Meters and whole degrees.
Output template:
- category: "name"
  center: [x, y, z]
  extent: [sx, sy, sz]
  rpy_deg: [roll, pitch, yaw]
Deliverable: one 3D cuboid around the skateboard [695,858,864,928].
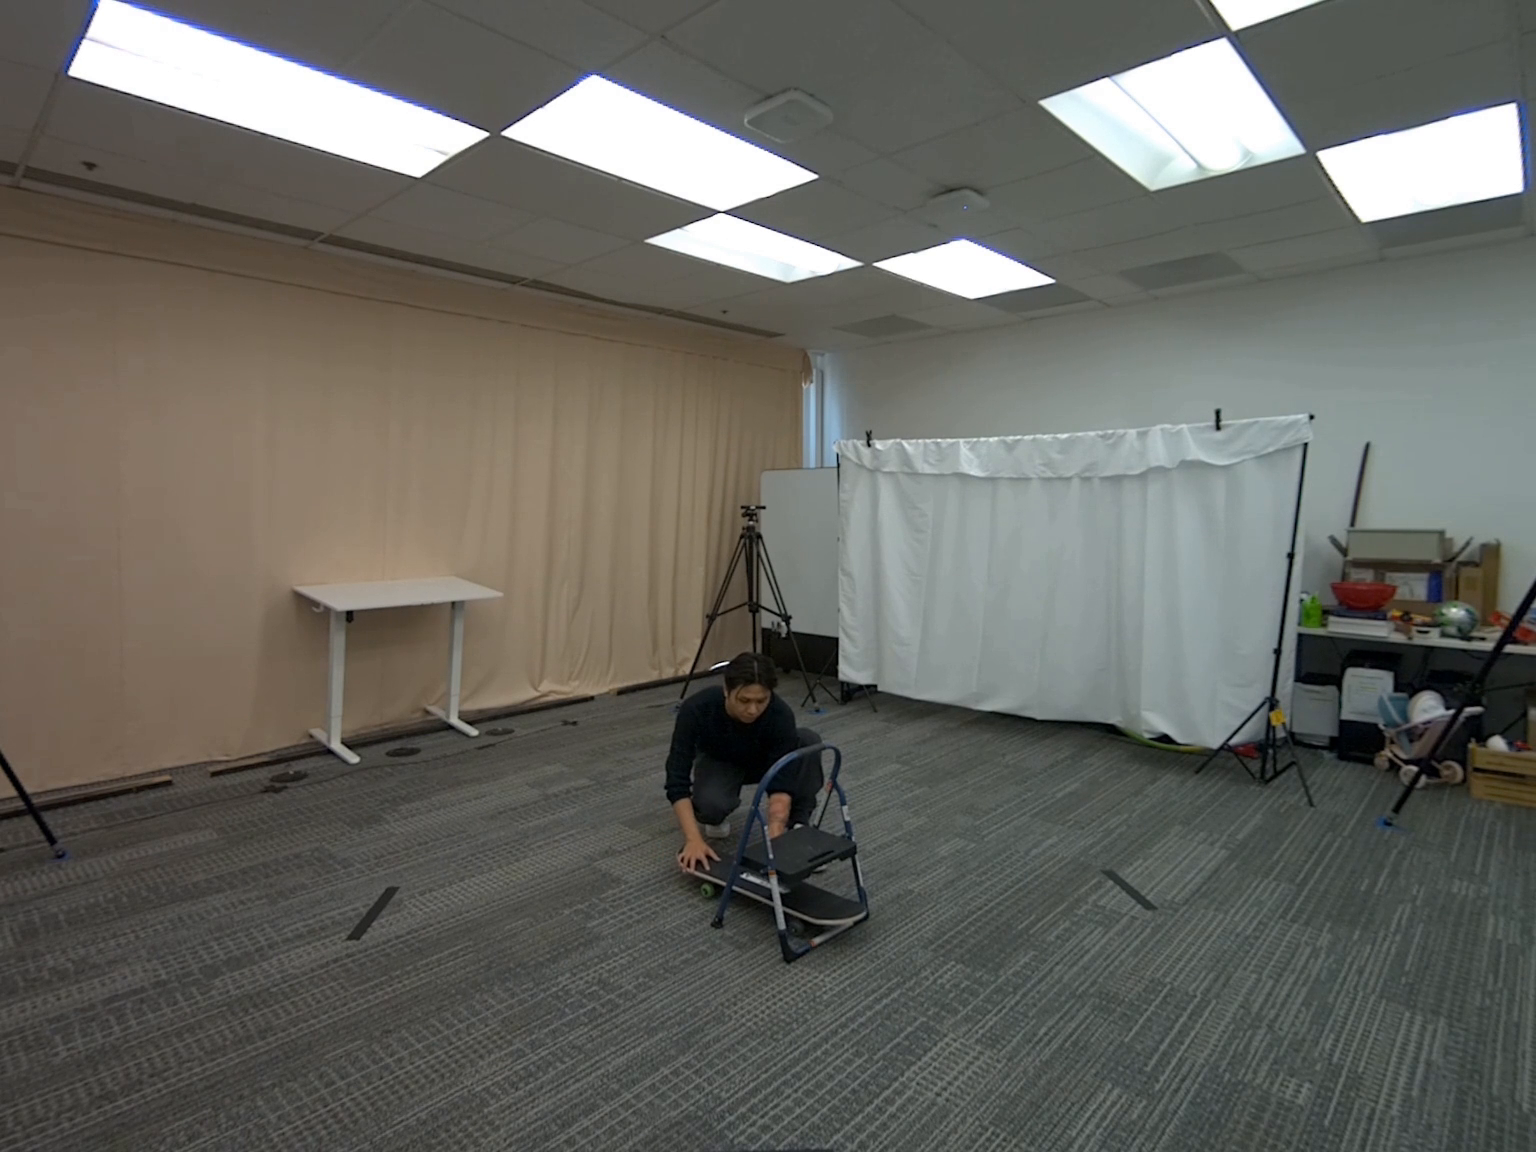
- category: "skateboard"
  center: [-0.004, 1.086, 2.922]
  extent: [0.812, 0.110, 0.188]
  rpy_deg: [5, 7, 40]
